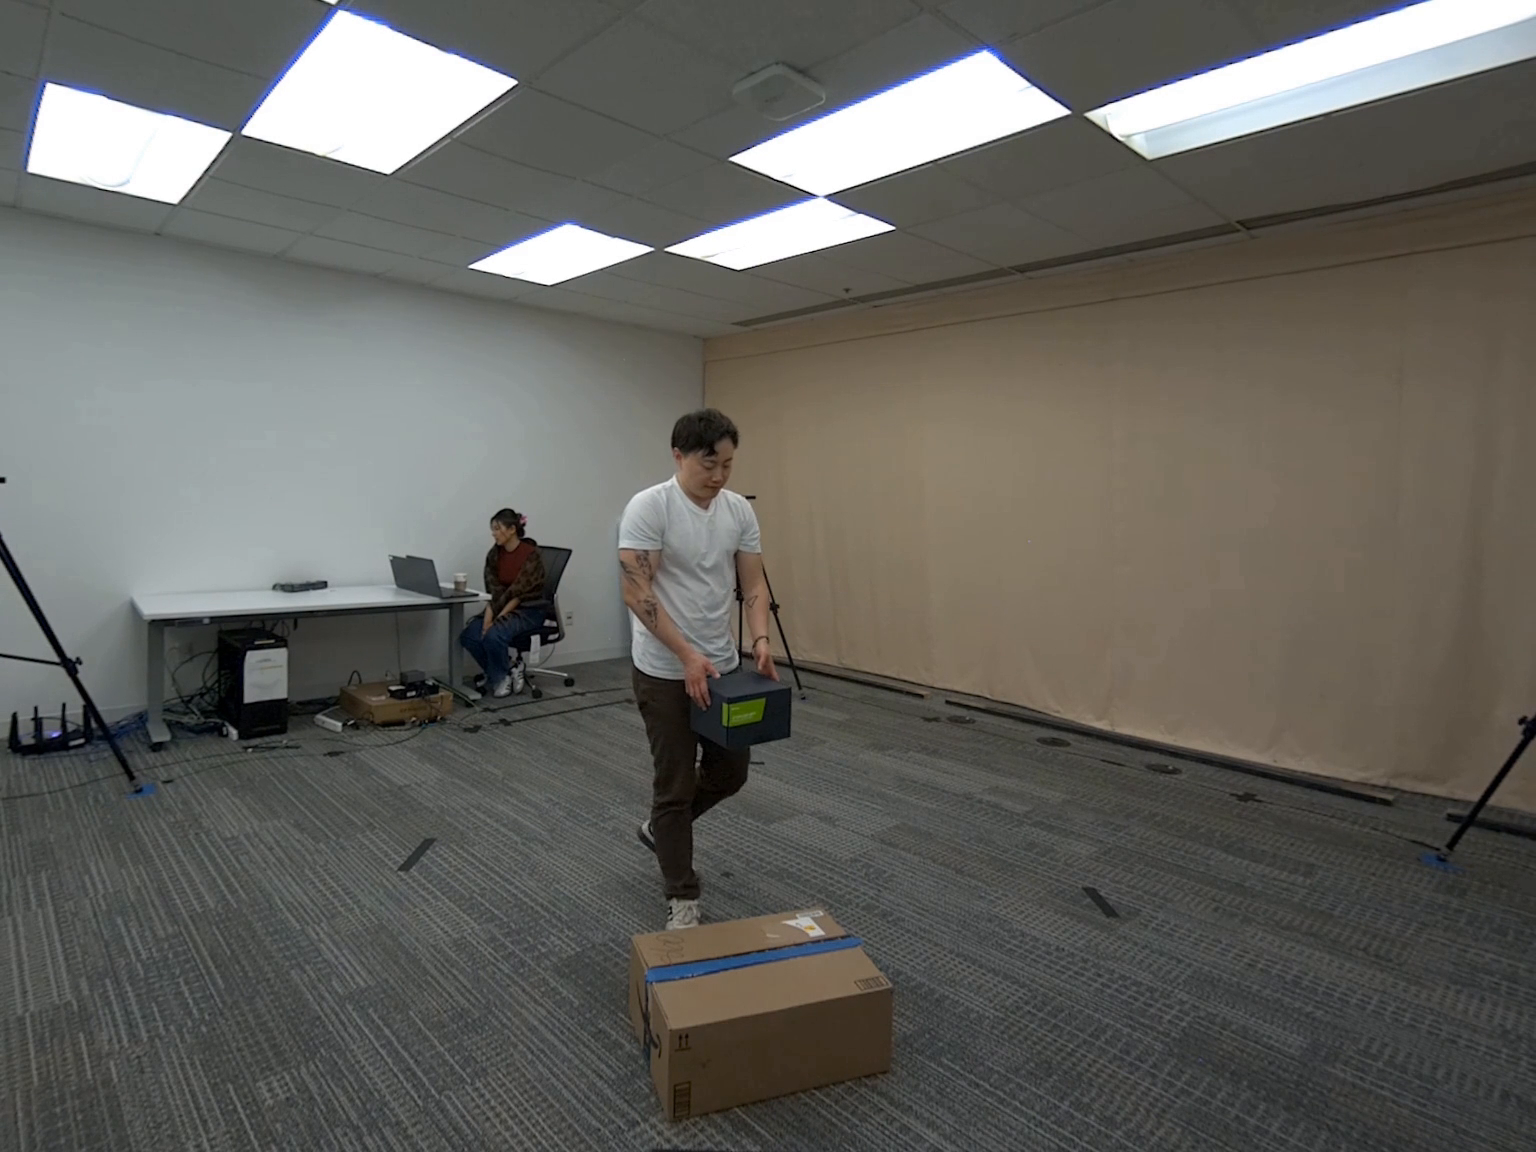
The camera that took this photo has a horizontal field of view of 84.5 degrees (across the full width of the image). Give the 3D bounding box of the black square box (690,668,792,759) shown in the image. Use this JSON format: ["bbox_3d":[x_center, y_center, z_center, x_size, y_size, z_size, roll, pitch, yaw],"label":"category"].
[{"bbox_3d":[-0.094,0.395,2.538,0.223,0.155,0.222,-4,9,-31],"label":"black square box"}]
